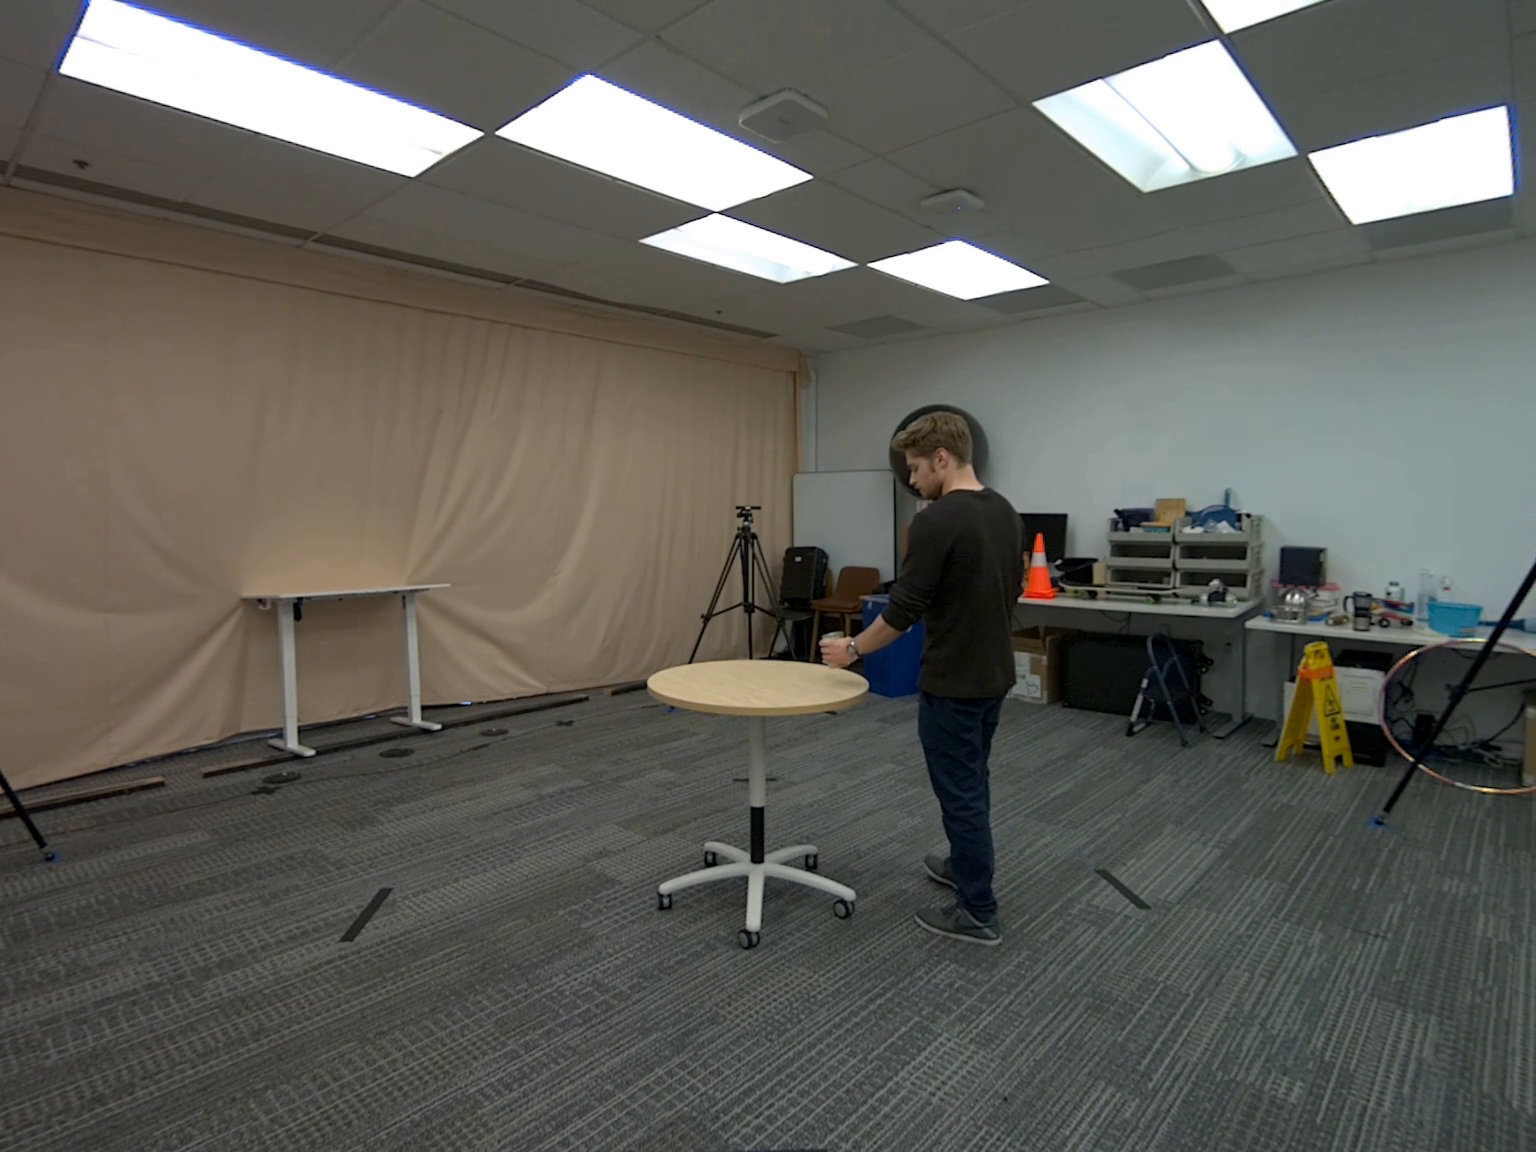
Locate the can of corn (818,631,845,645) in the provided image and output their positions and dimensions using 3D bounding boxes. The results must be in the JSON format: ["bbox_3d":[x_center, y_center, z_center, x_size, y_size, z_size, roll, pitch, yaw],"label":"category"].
[{"bbox_3d":[0.242,0.257,2.892,0.074,0.111,0.074,-9,0,-2],"label":"can of corn"}]
